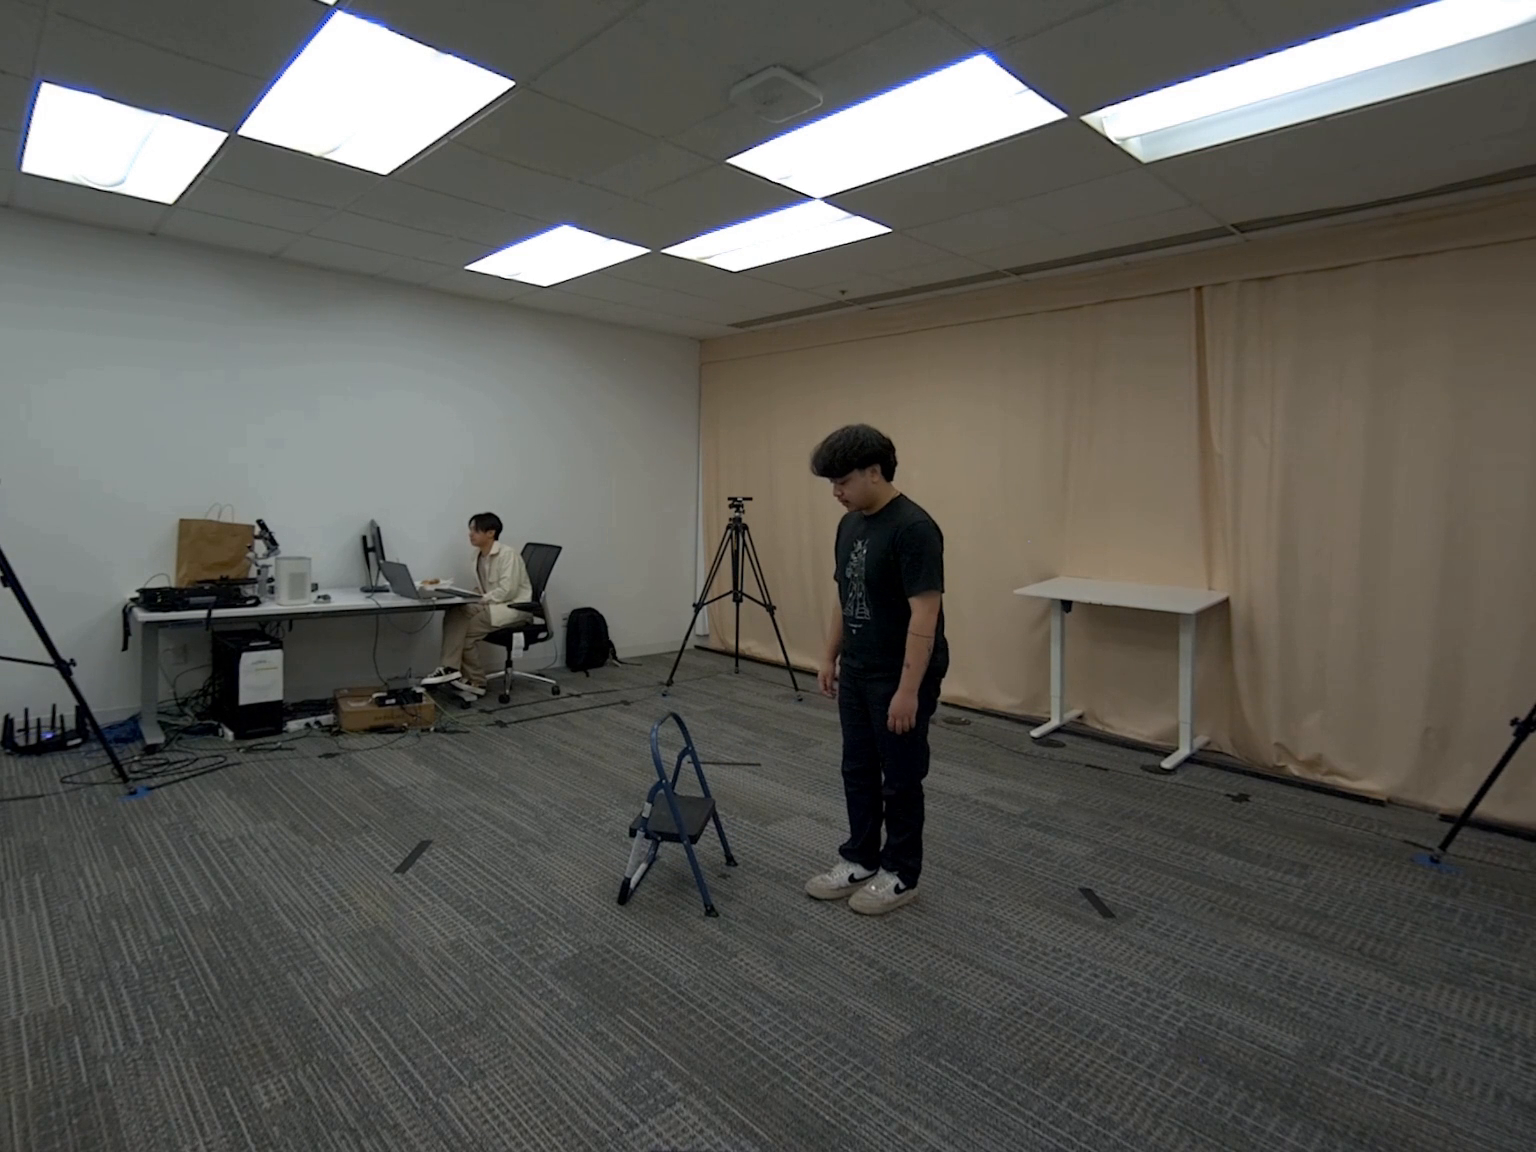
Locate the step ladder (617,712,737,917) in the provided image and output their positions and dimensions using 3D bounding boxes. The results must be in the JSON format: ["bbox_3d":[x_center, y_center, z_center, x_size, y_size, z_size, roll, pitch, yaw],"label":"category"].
[{"bbox_3d":[-0.314,0.811,3.021,0.352,0.604,0.428,3,4,8],"label":"step ladder"}]
